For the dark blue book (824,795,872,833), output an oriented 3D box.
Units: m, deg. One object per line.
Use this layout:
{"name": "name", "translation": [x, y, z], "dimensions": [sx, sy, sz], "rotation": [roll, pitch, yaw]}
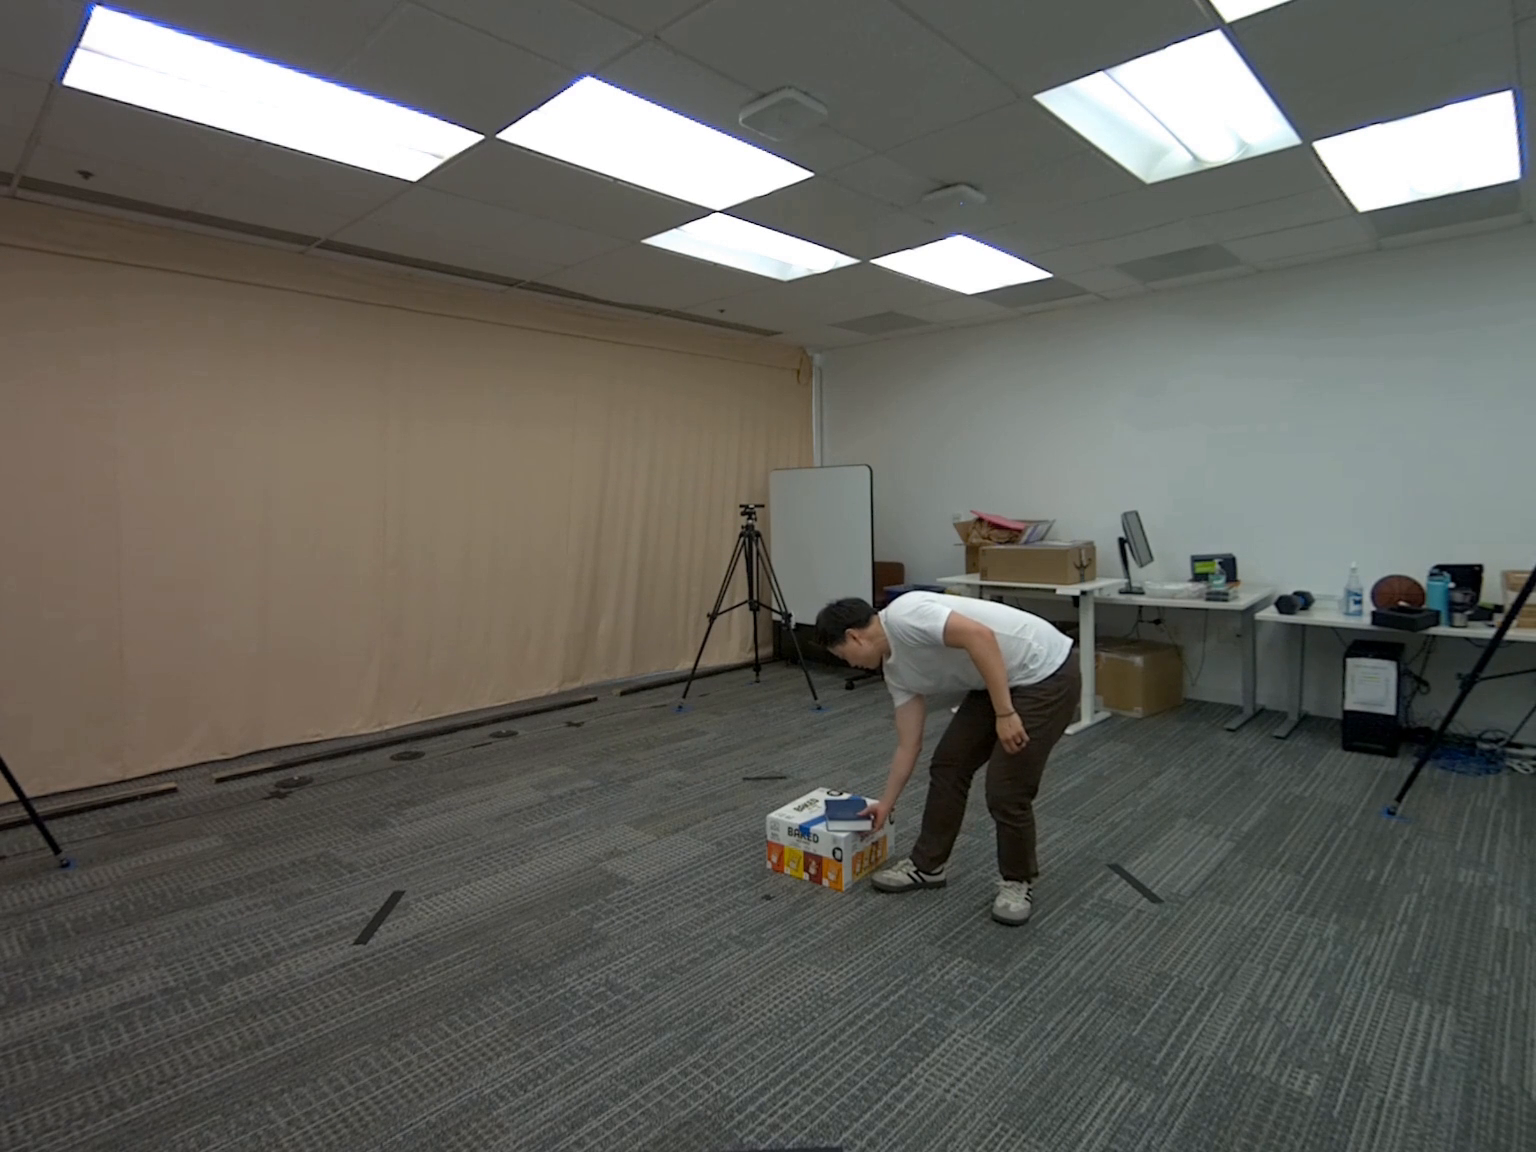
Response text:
{"name": "dark blue book", "translation": [0.305, 0.898, 3.167], "dimensions": [0.164, 0.045, 0.245], "rotation": [-3, 3, 2]}
